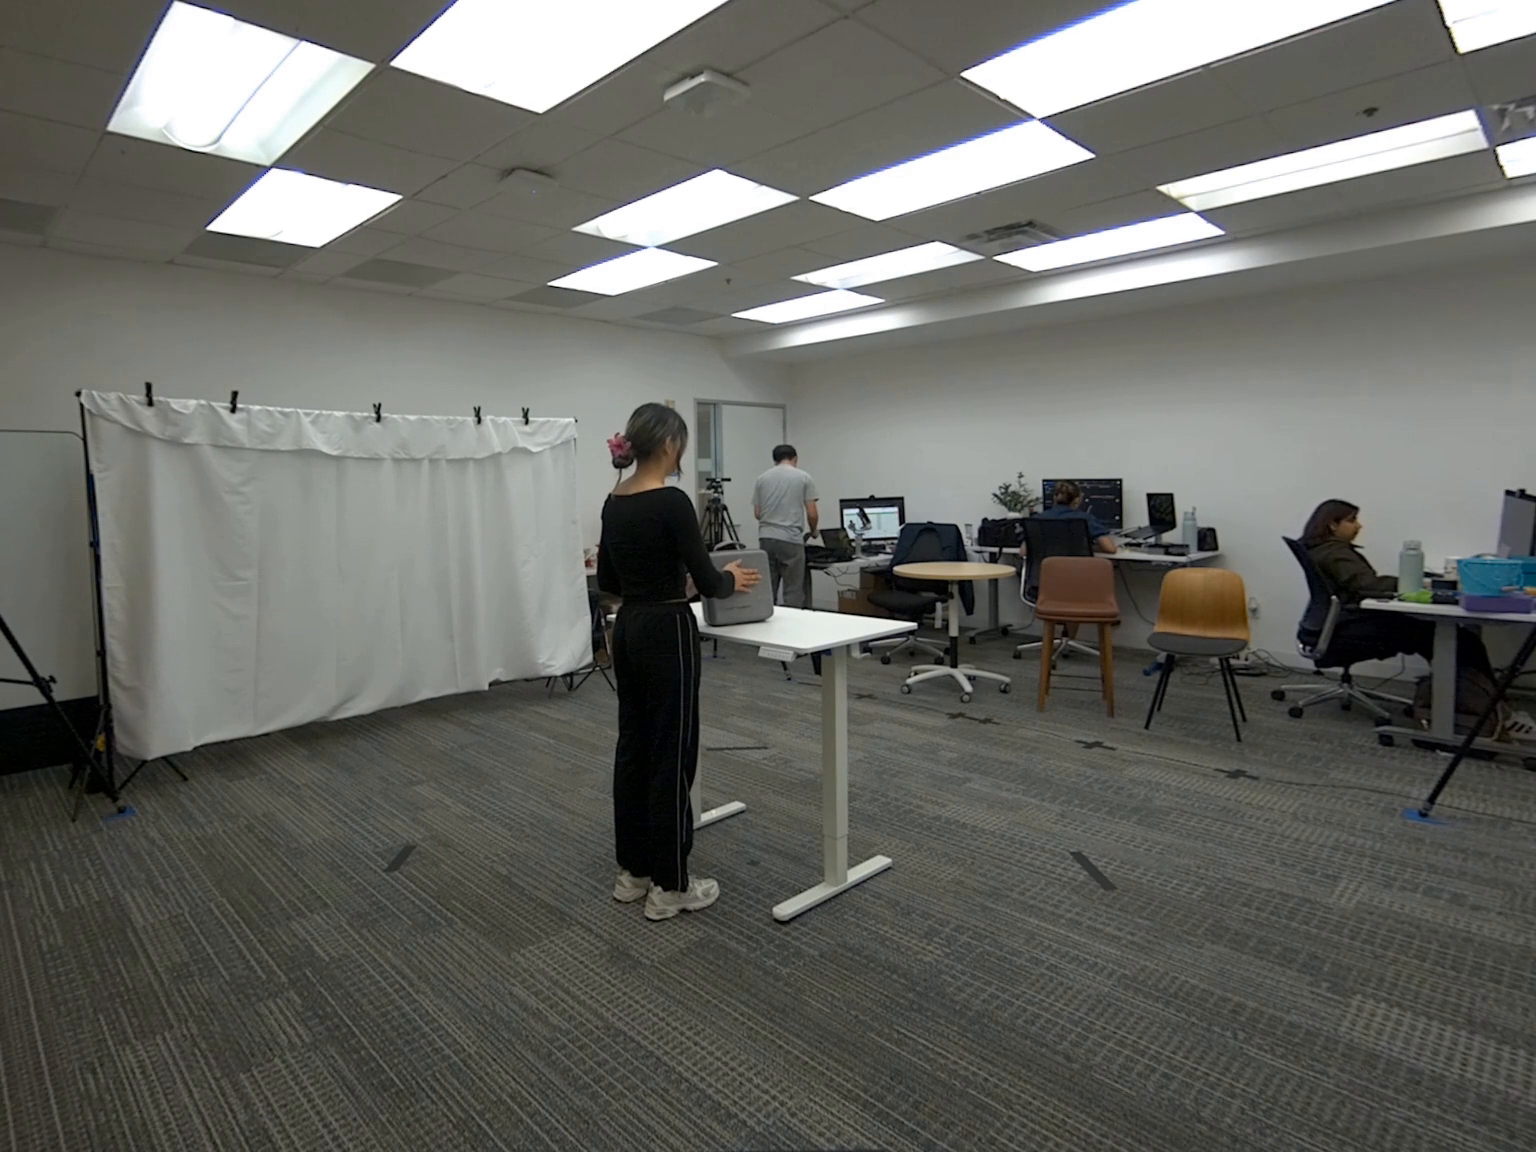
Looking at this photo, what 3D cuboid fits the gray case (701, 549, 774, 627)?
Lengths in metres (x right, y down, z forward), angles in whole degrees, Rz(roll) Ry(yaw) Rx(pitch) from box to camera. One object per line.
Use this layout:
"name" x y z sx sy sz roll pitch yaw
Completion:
"gray case" -0.114 0.037 3.038 0.251 0.262 0.106 -4 -4 -28
